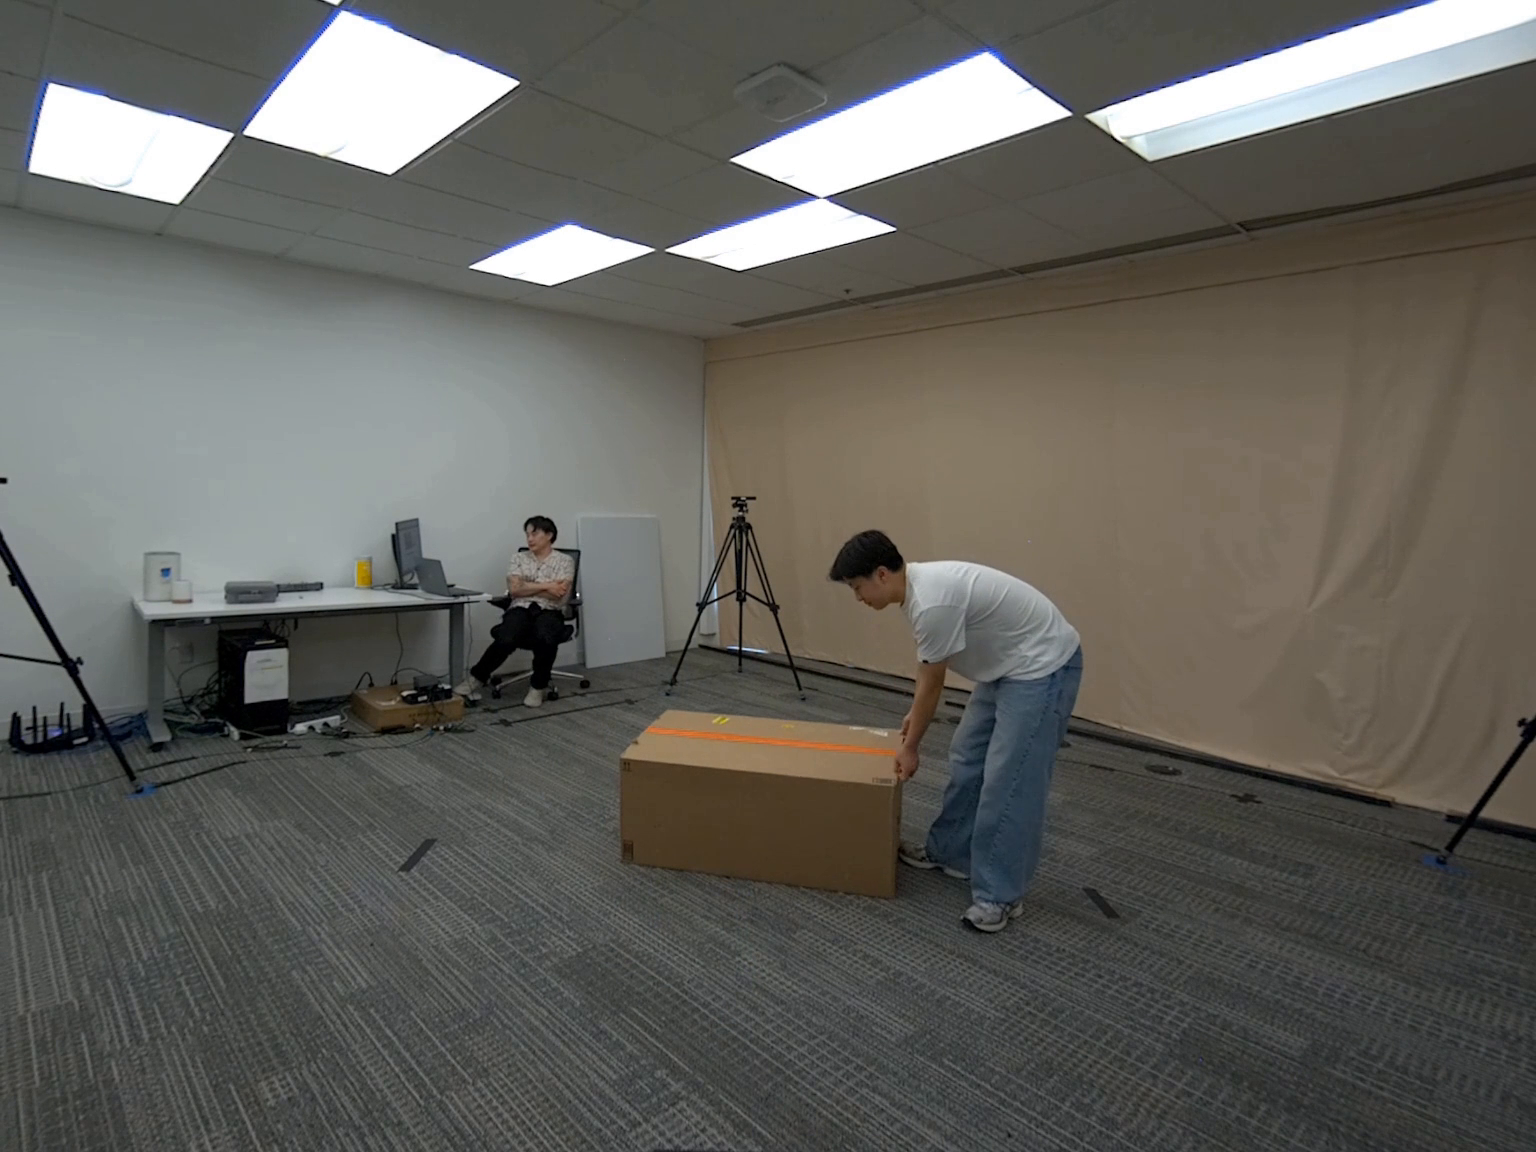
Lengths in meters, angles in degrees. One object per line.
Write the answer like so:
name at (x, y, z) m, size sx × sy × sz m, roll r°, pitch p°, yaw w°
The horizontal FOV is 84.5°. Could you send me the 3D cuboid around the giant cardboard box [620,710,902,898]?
giant cardboard box at (-0.003, 0.857, 3.307) m, size 1.038 × 0.424 × 0.573 m, roll 3°, pitch 7°, yaw 14°
